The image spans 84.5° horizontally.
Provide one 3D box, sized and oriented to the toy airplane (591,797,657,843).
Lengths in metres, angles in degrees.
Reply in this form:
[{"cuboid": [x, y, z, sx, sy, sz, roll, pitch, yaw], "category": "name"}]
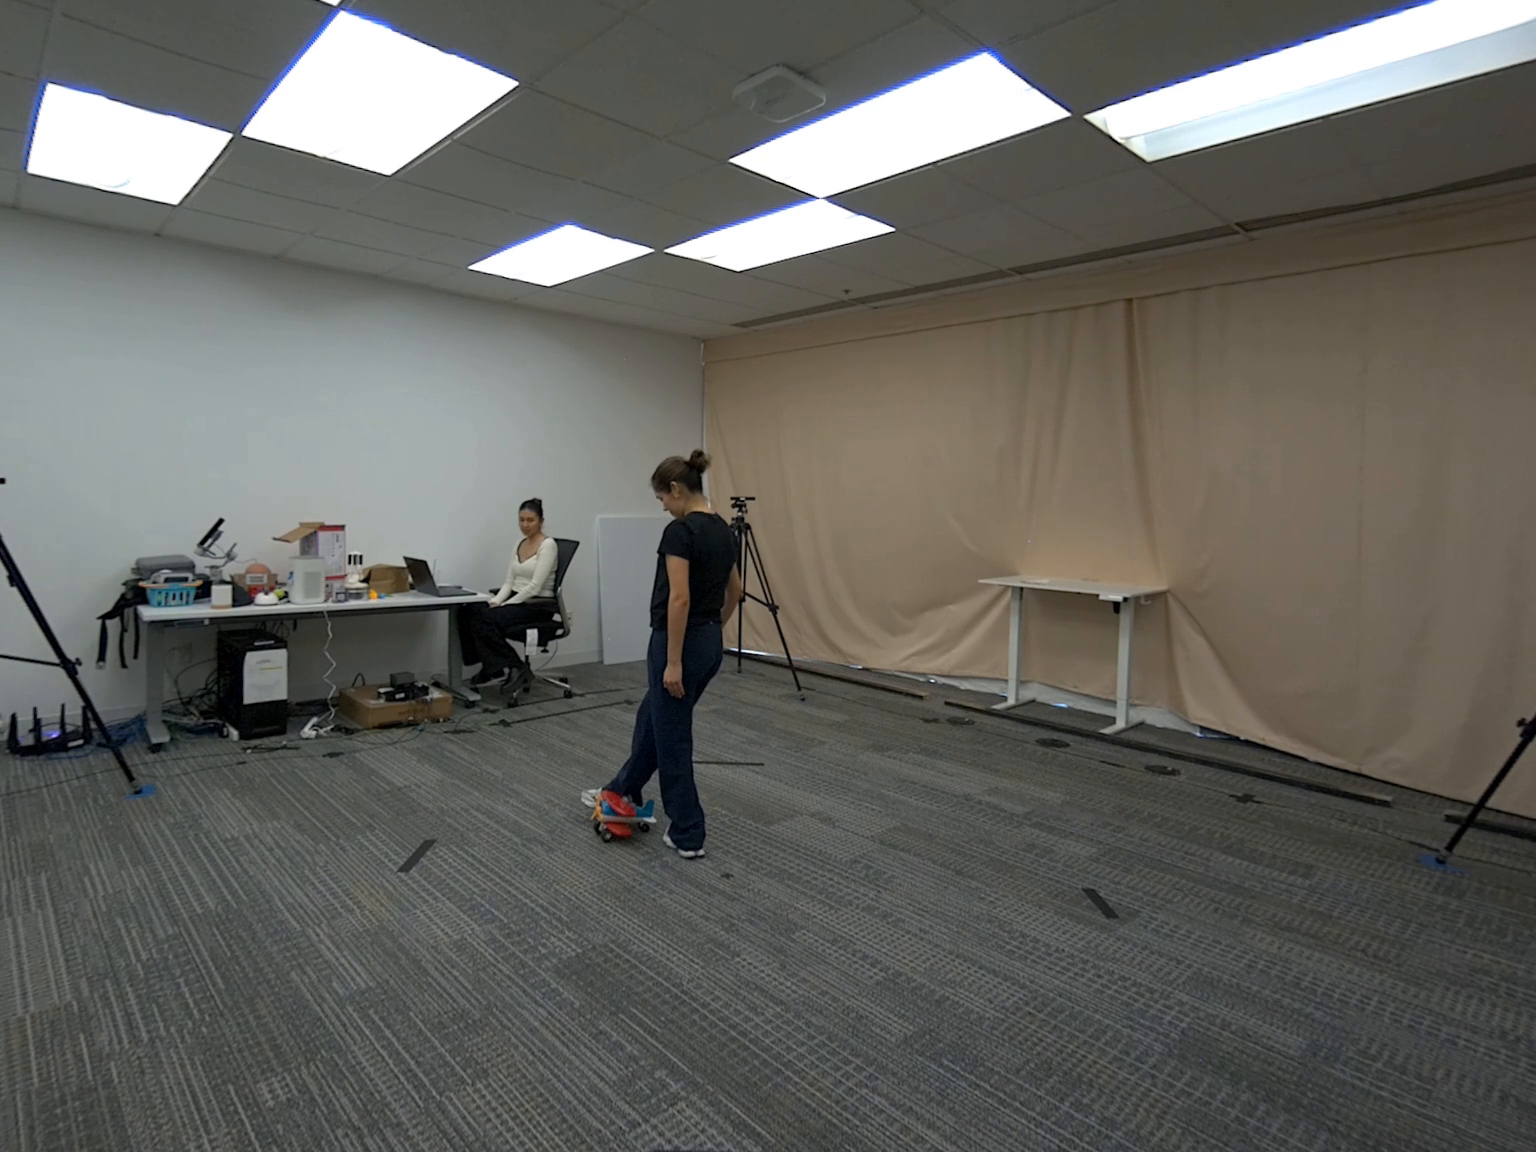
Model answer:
[{"cuboid": [-0.612, 0.990, 3.465, 0.257, 0.155, 0.254, 7, 9, 32], "category": "toy airplane"}]
